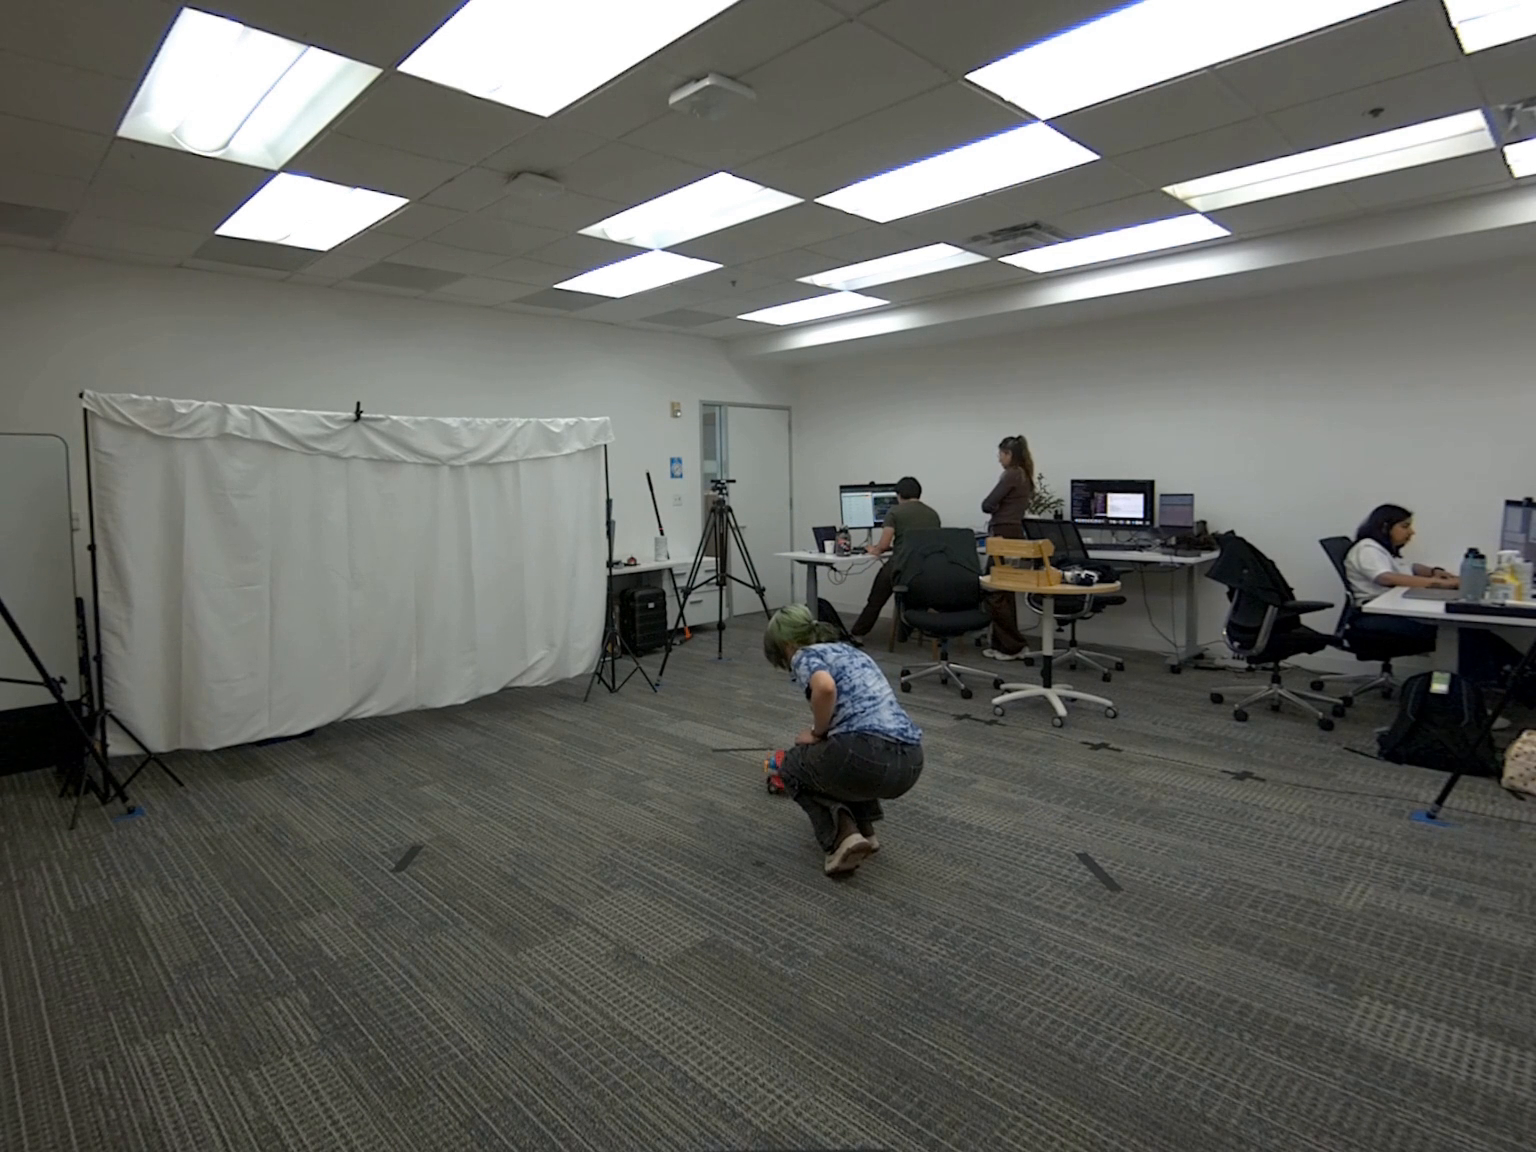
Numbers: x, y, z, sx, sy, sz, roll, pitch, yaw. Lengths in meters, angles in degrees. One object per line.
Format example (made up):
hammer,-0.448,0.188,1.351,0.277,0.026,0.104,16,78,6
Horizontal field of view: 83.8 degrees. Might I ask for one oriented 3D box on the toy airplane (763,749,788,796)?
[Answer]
toy airplane,0.108,0.887,3.855,0.254,0.156,0.257,-3,5,-25
